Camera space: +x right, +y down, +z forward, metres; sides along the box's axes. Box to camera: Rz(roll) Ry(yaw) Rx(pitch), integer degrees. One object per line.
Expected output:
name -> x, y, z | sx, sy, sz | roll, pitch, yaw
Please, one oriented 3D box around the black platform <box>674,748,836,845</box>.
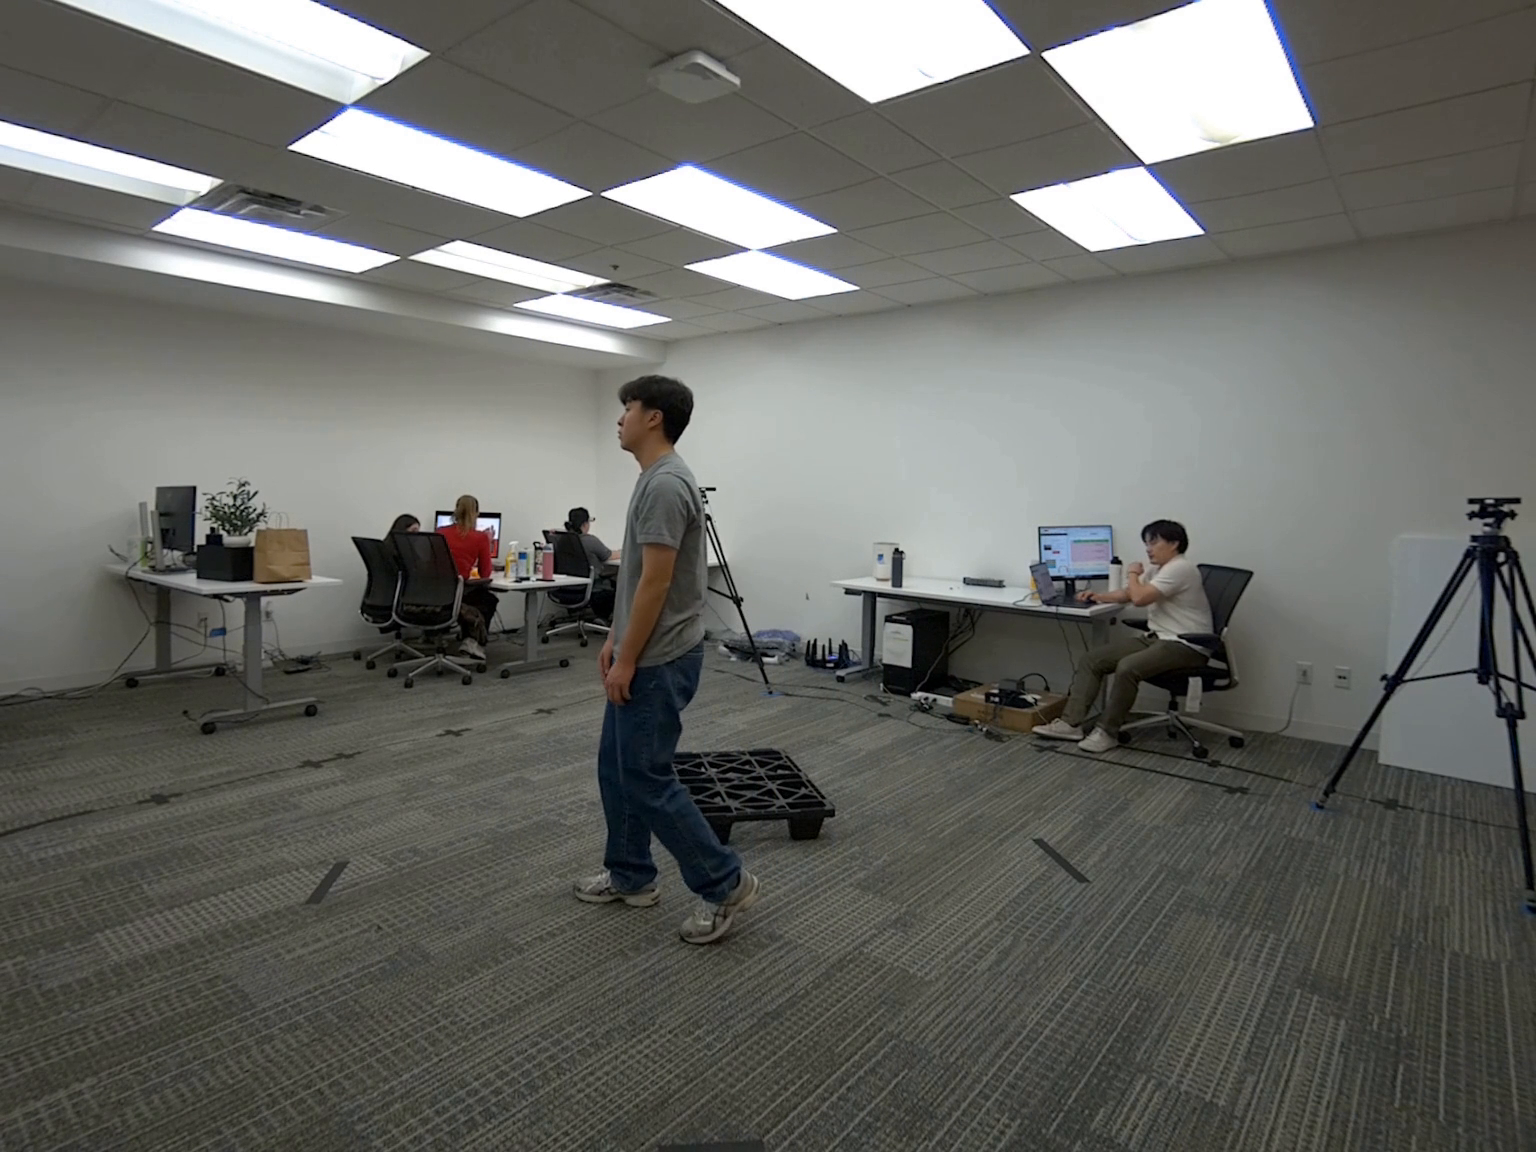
black platform -> -0.130, 0.943, 3.698 | 0.597, 0.143, 0.820 | -1, 6, -13
